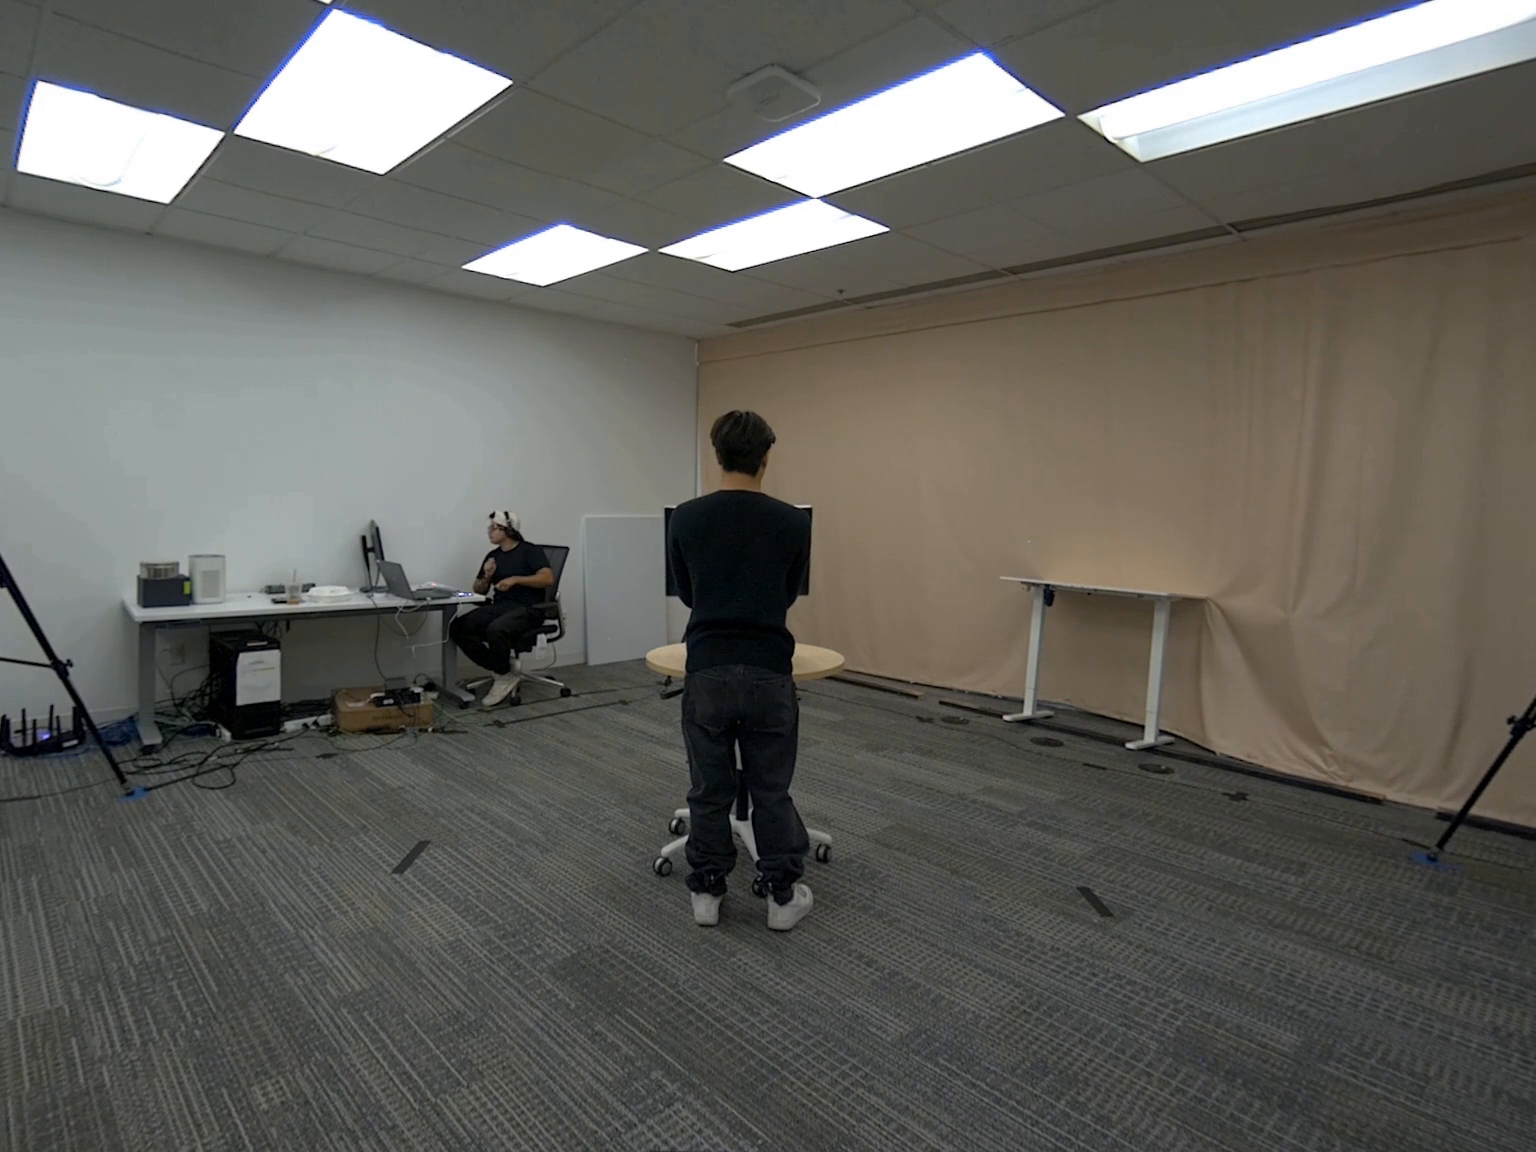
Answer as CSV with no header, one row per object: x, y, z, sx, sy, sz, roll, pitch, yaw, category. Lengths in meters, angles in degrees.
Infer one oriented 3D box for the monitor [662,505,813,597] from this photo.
-0.111,0.021,3.174,0.537,0.520,0.188,0,6,-3,monitor
